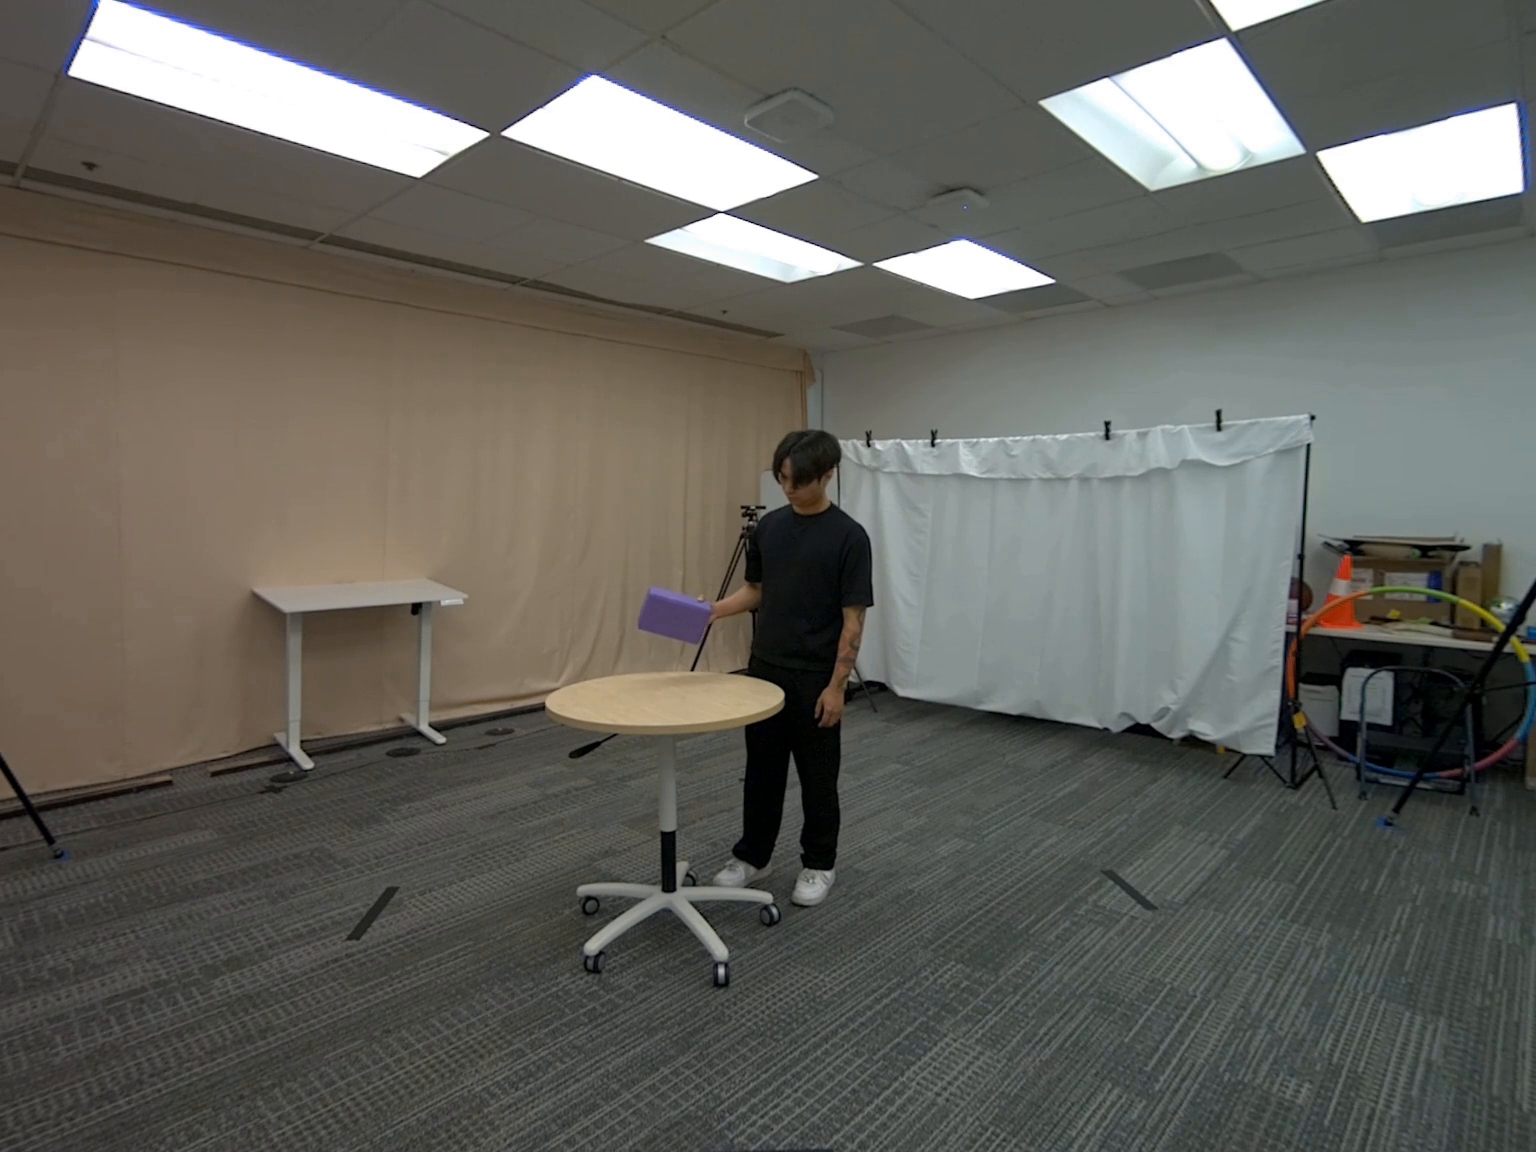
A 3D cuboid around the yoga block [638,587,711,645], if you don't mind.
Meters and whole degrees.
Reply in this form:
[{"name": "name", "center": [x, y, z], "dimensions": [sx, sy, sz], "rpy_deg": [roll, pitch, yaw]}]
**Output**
[{"name": "yoga block", "center": [-0.329, 0.143, 2.966], "dimensions": [0.227, 0.148, 0.077], "rpy_deg": [18, 19, -7]}]
